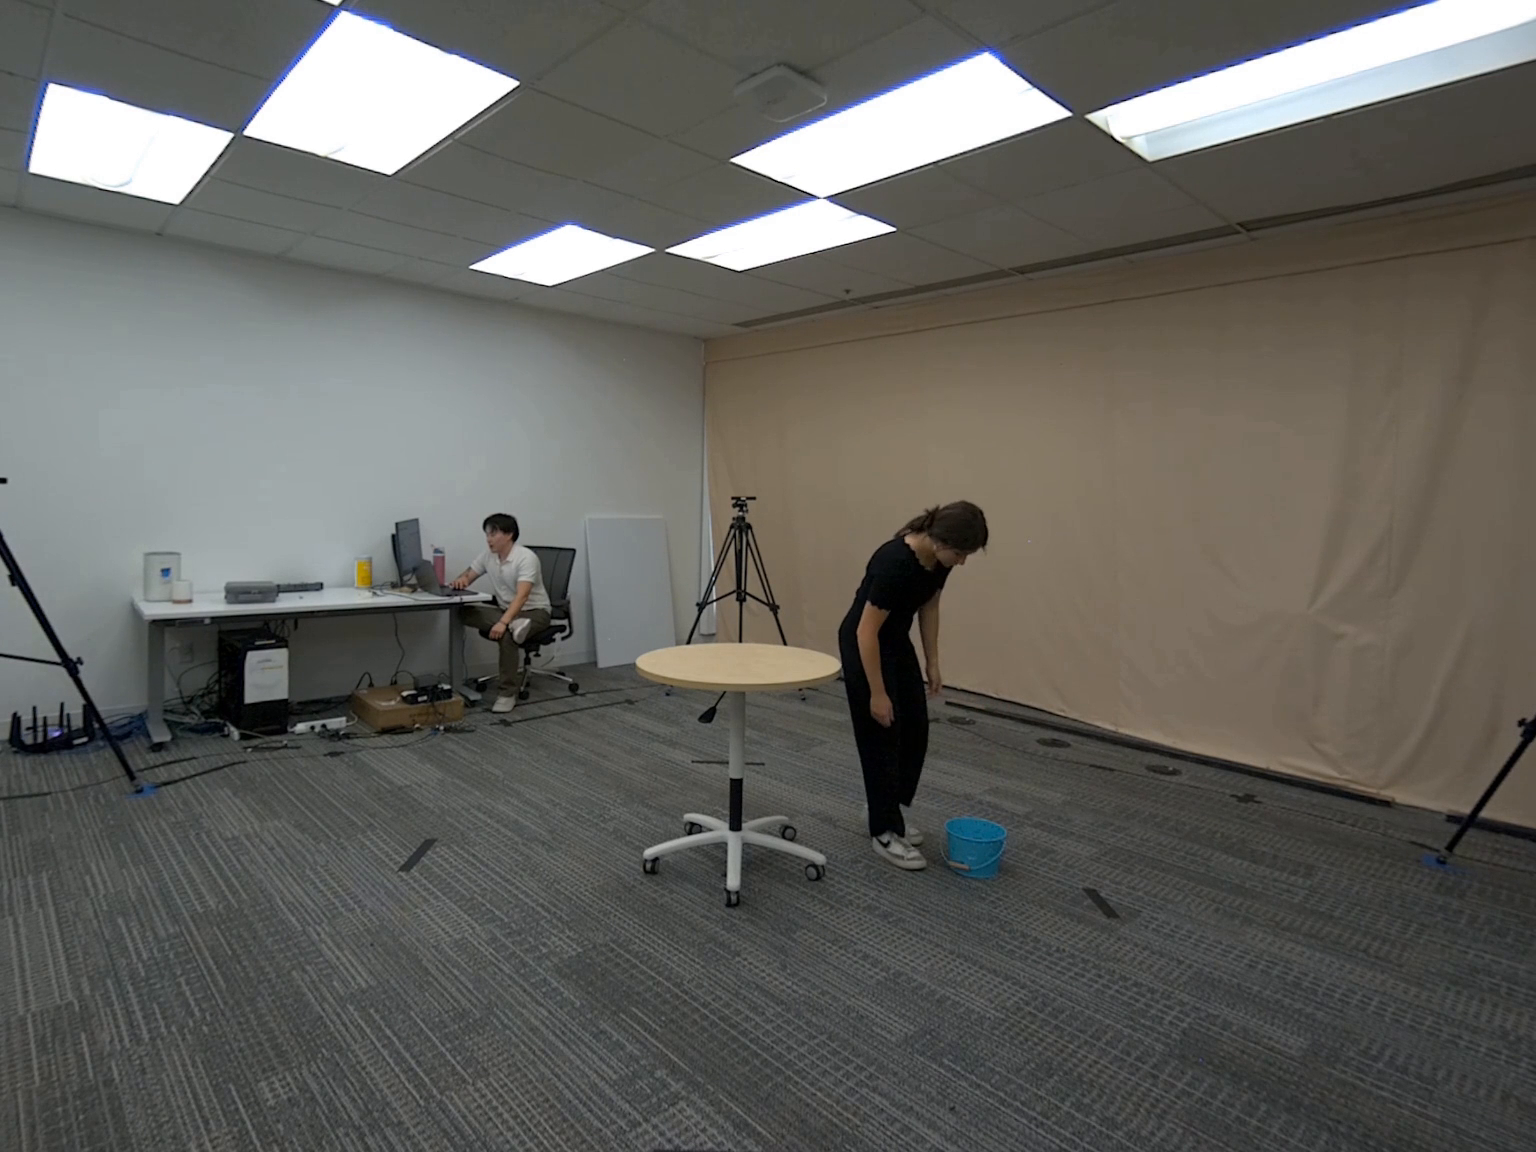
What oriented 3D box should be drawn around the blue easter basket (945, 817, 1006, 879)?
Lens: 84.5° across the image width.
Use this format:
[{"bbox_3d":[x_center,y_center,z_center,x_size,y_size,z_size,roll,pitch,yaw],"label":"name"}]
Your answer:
[{"bbox_3d":[0.773,1.037,3.236,0.243,0.155,0.244,2,4,-1],"label":"blue easter basket"}]
